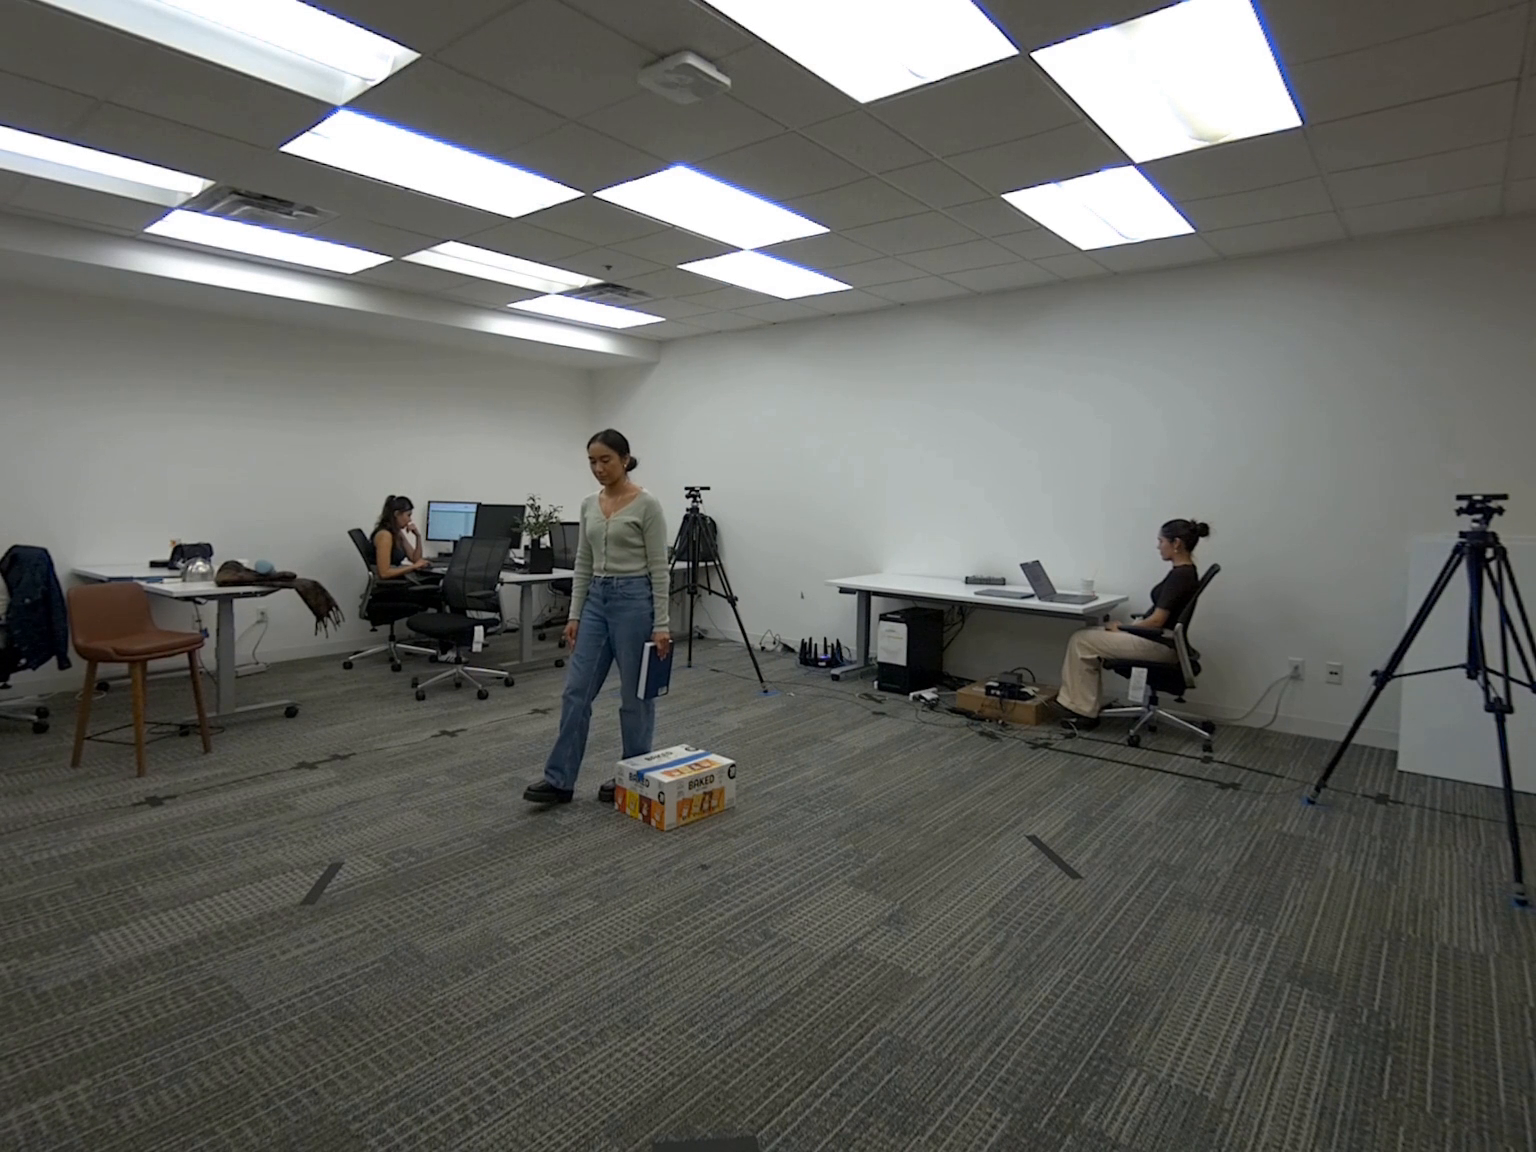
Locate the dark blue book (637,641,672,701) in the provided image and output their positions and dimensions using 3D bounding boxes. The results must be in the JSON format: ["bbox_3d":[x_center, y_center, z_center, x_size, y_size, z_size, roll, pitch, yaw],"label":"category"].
[{"bbox_3d":[-0.502,0.400,3.685,0.047,0.243,0.158,14,9,36],"label":"dark blue book"}]
